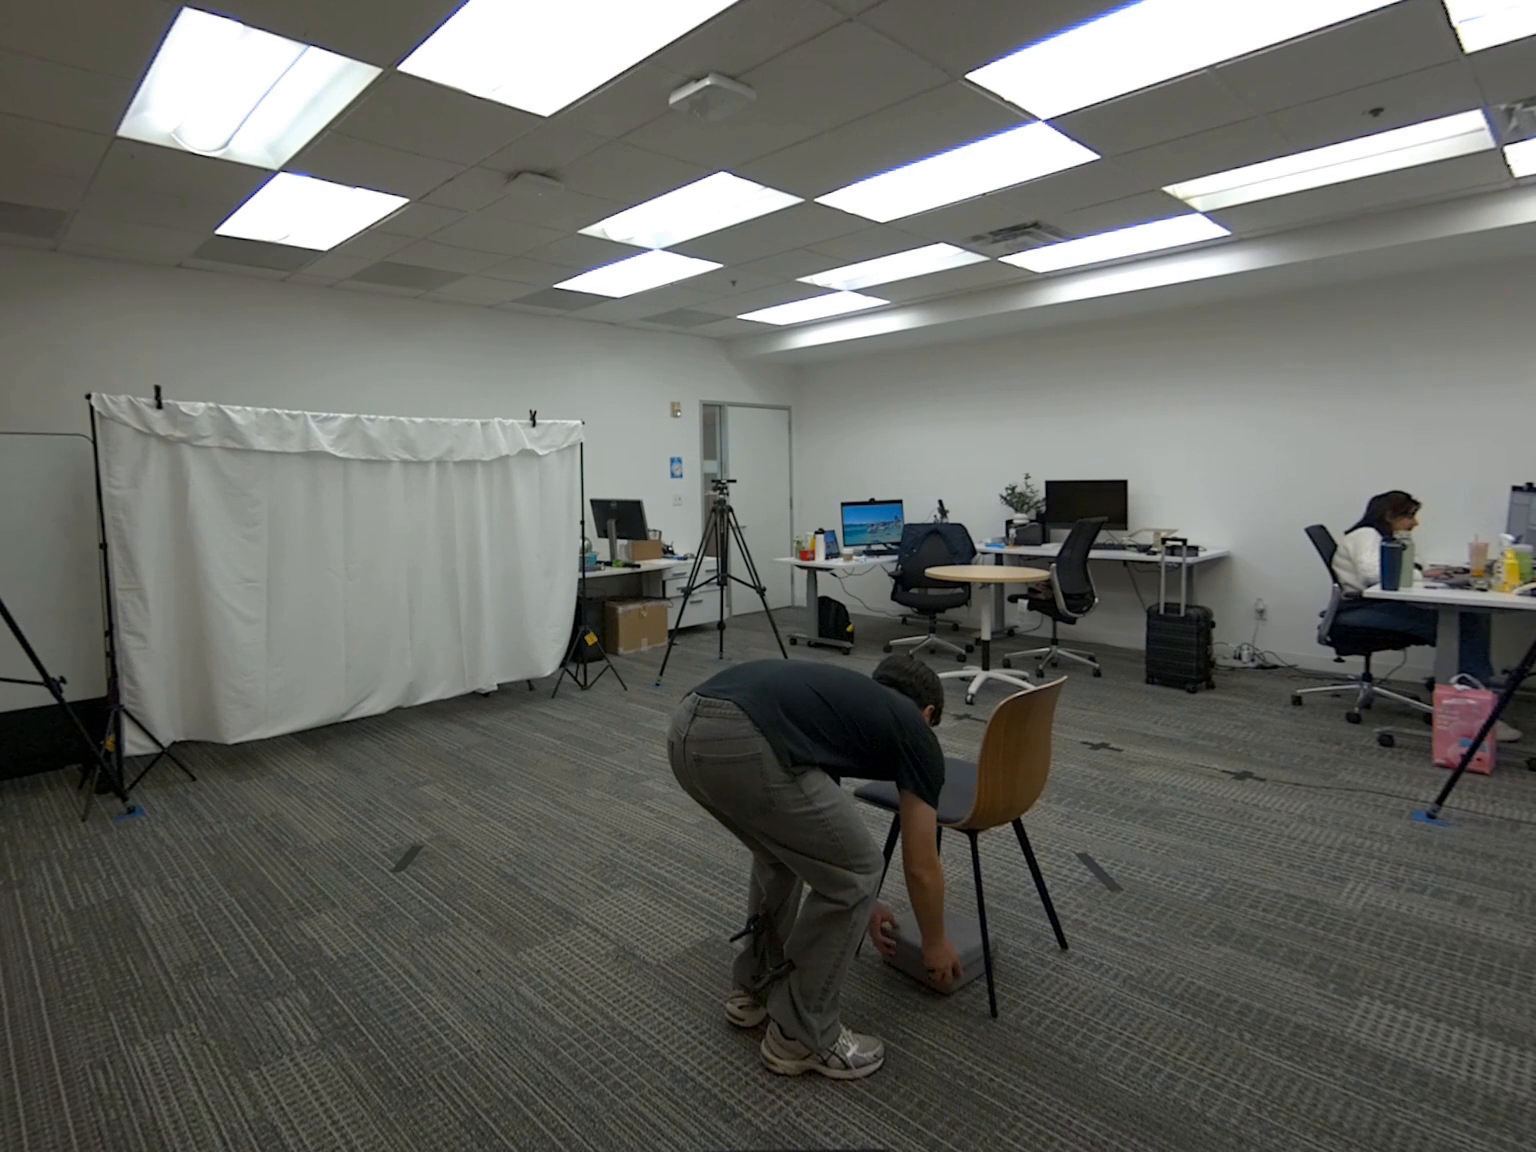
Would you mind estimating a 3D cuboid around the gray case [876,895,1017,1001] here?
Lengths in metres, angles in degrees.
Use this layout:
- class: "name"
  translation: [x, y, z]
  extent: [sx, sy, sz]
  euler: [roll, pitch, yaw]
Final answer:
- class: "gray case"
  translation: [0.507, 1.053, 2.457]
  extent: [0.280, 0.102, 0.271]
  euler: [-4, 7, -35]
